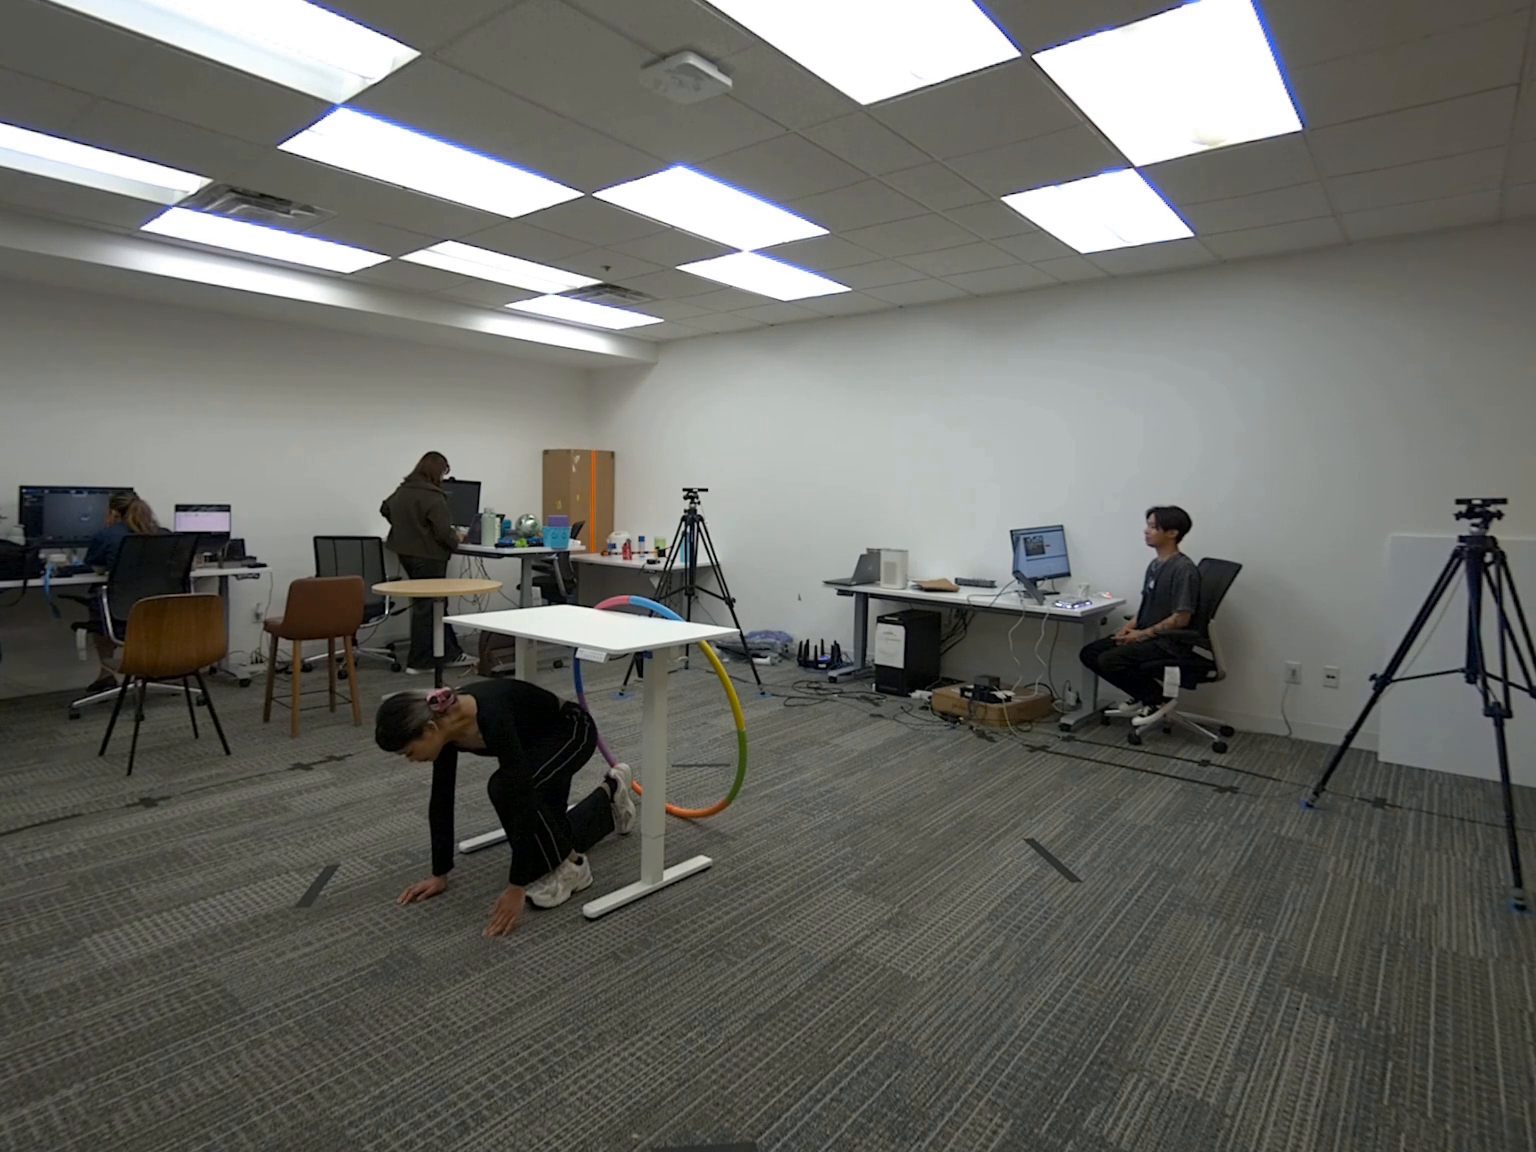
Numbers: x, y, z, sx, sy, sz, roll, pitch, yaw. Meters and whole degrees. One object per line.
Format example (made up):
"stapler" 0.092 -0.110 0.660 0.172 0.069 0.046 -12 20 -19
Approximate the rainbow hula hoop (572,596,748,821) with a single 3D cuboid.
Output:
"rainbow hula hoop" -0.485 0.550 3.530 1.011 0.963 0.035 4 19 39
